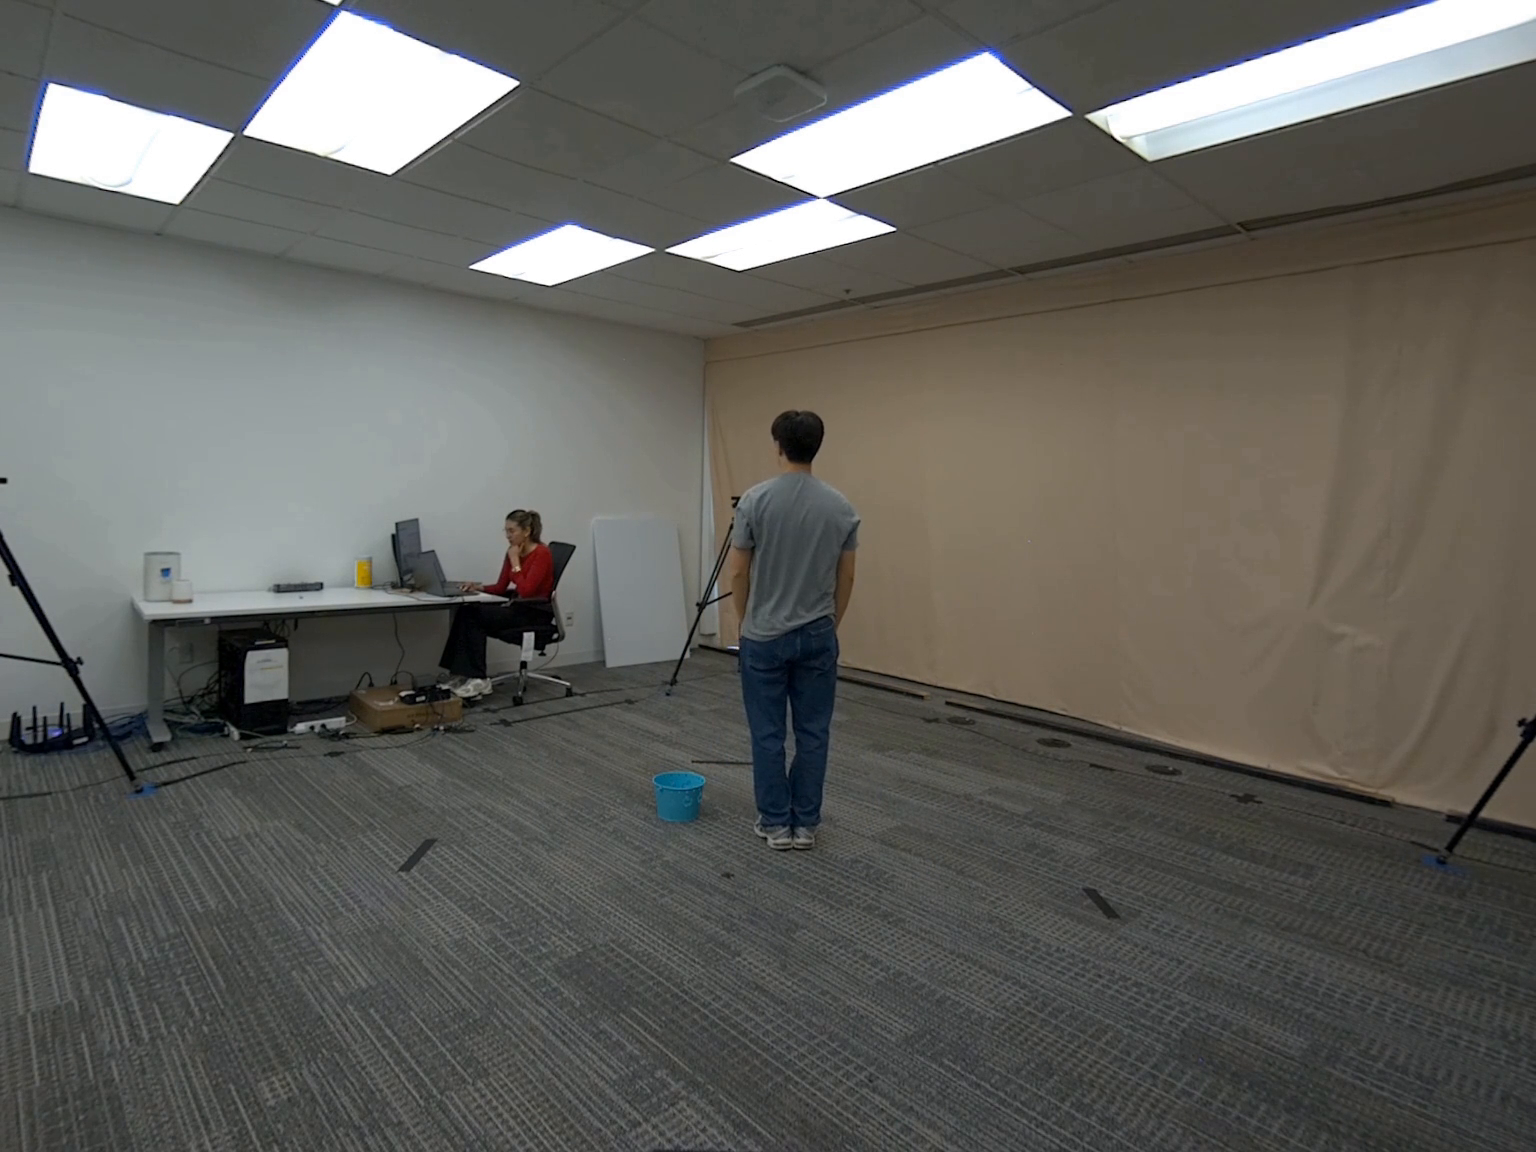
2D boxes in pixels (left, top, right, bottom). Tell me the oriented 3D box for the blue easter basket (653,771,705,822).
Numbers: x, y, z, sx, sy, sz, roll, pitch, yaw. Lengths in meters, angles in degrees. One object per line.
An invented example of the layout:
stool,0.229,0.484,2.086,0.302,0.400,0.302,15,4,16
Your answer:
blue easter basket,-0.403,0.972,3.706,0.243,0.155,0.245,1,6,-1
